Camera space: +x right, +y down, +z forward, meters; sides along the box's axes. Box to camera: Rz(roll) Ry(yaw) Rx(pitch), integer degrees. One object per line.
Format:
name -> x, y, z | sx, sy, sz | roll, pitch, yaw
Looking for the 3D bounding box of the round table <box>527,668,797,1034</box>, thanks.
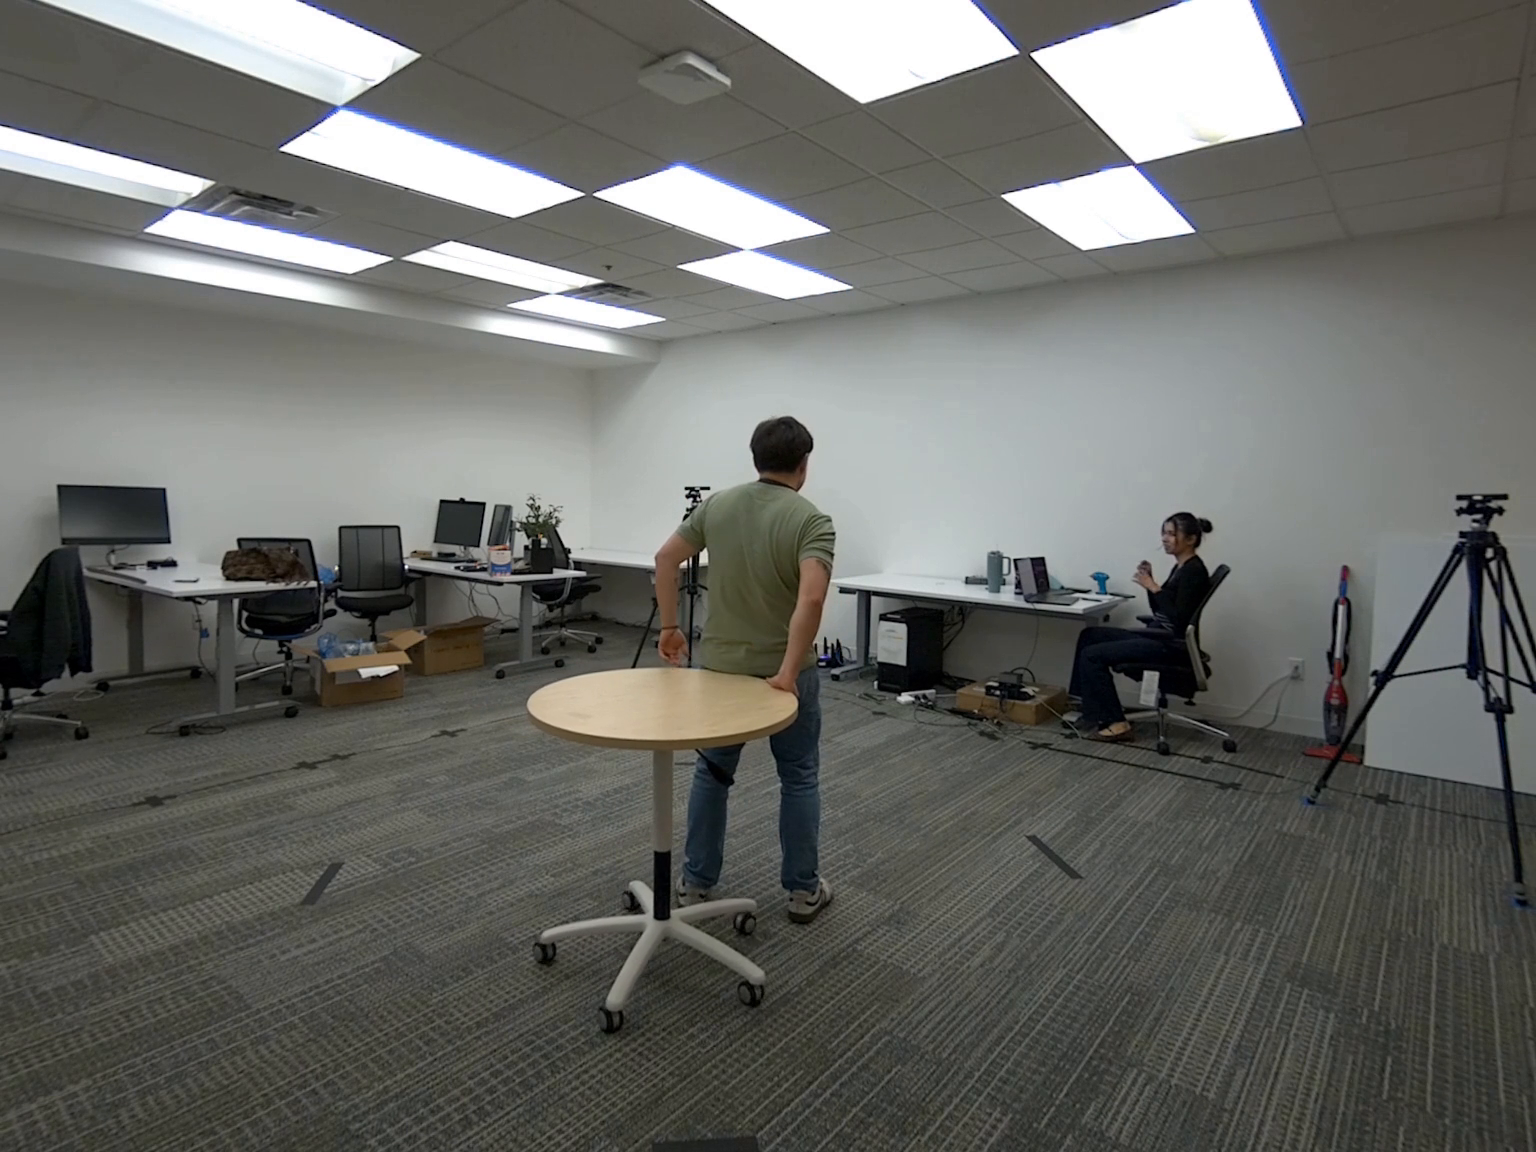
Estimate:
round table -> -0.304, 0.741, 2.456 | 0.763, 0.791, 0.768 | 1, 5, -2
